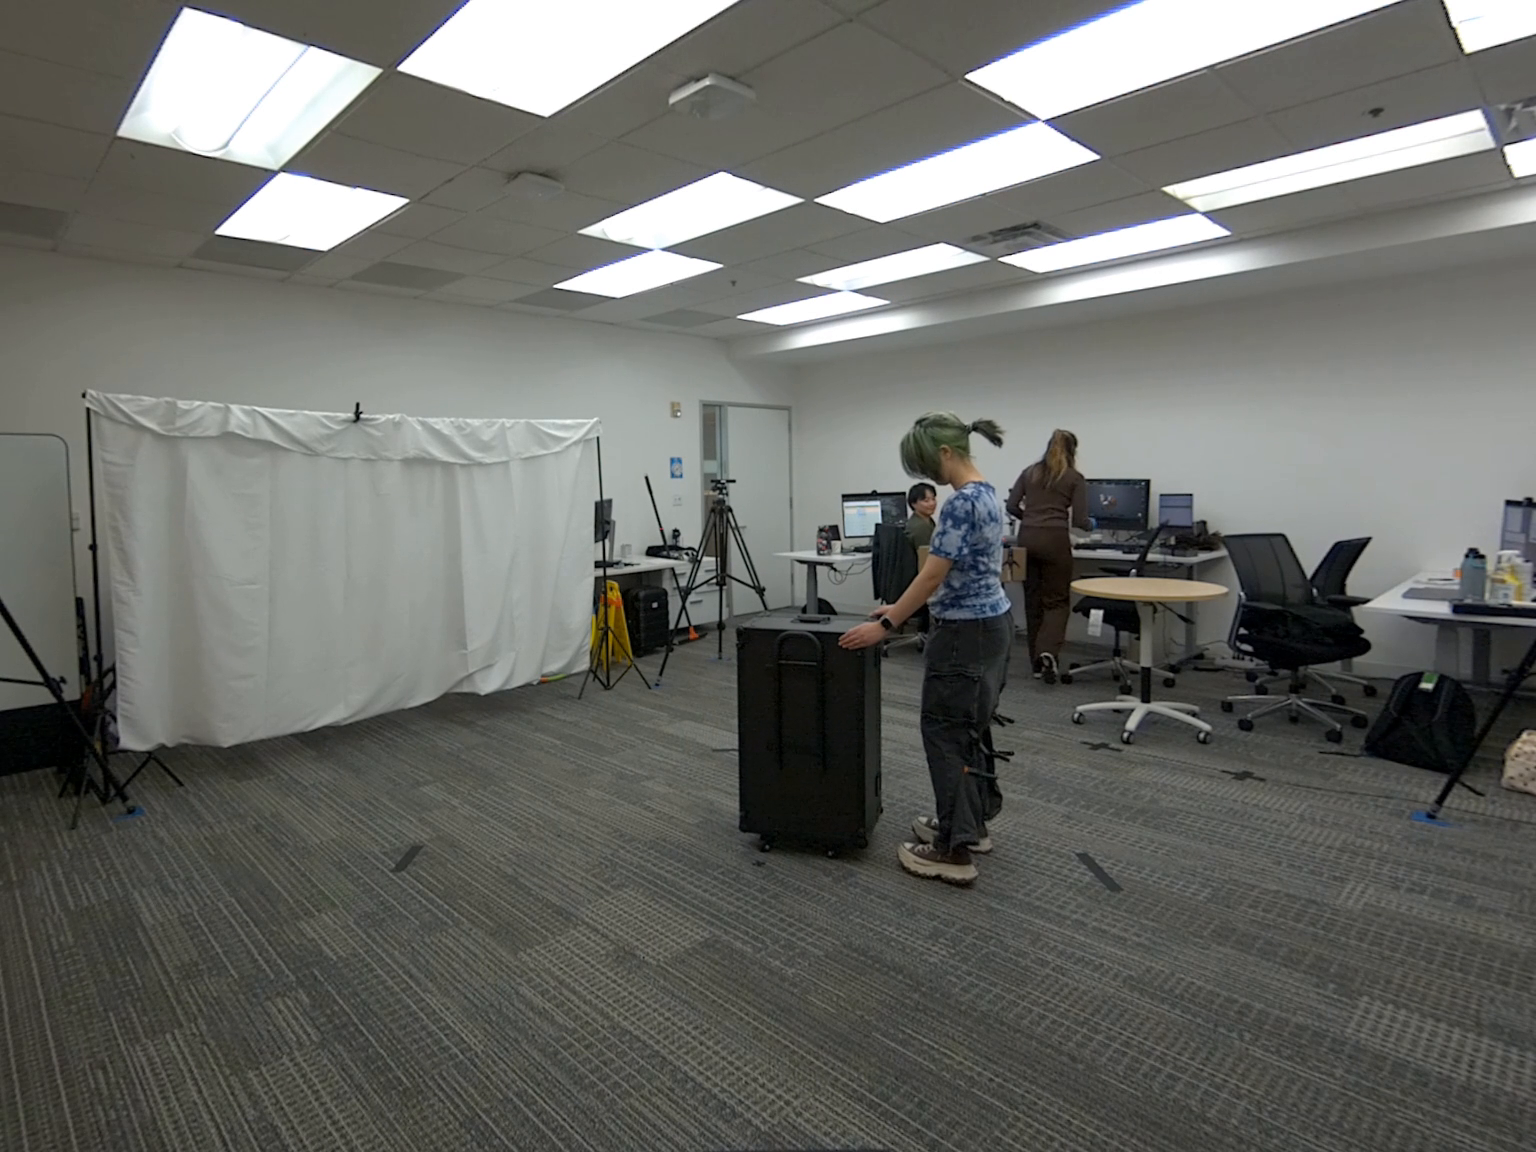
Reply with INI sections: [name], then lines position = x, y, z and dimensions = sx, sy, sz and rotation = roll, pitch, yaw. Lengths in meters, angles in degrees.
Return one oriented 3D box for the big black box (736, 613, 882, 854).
[big black box]
position = 0.168, 0.604, 3.272
dimensions = 0.531, 0.858, 0.391
rotation = 2, 5, 19
